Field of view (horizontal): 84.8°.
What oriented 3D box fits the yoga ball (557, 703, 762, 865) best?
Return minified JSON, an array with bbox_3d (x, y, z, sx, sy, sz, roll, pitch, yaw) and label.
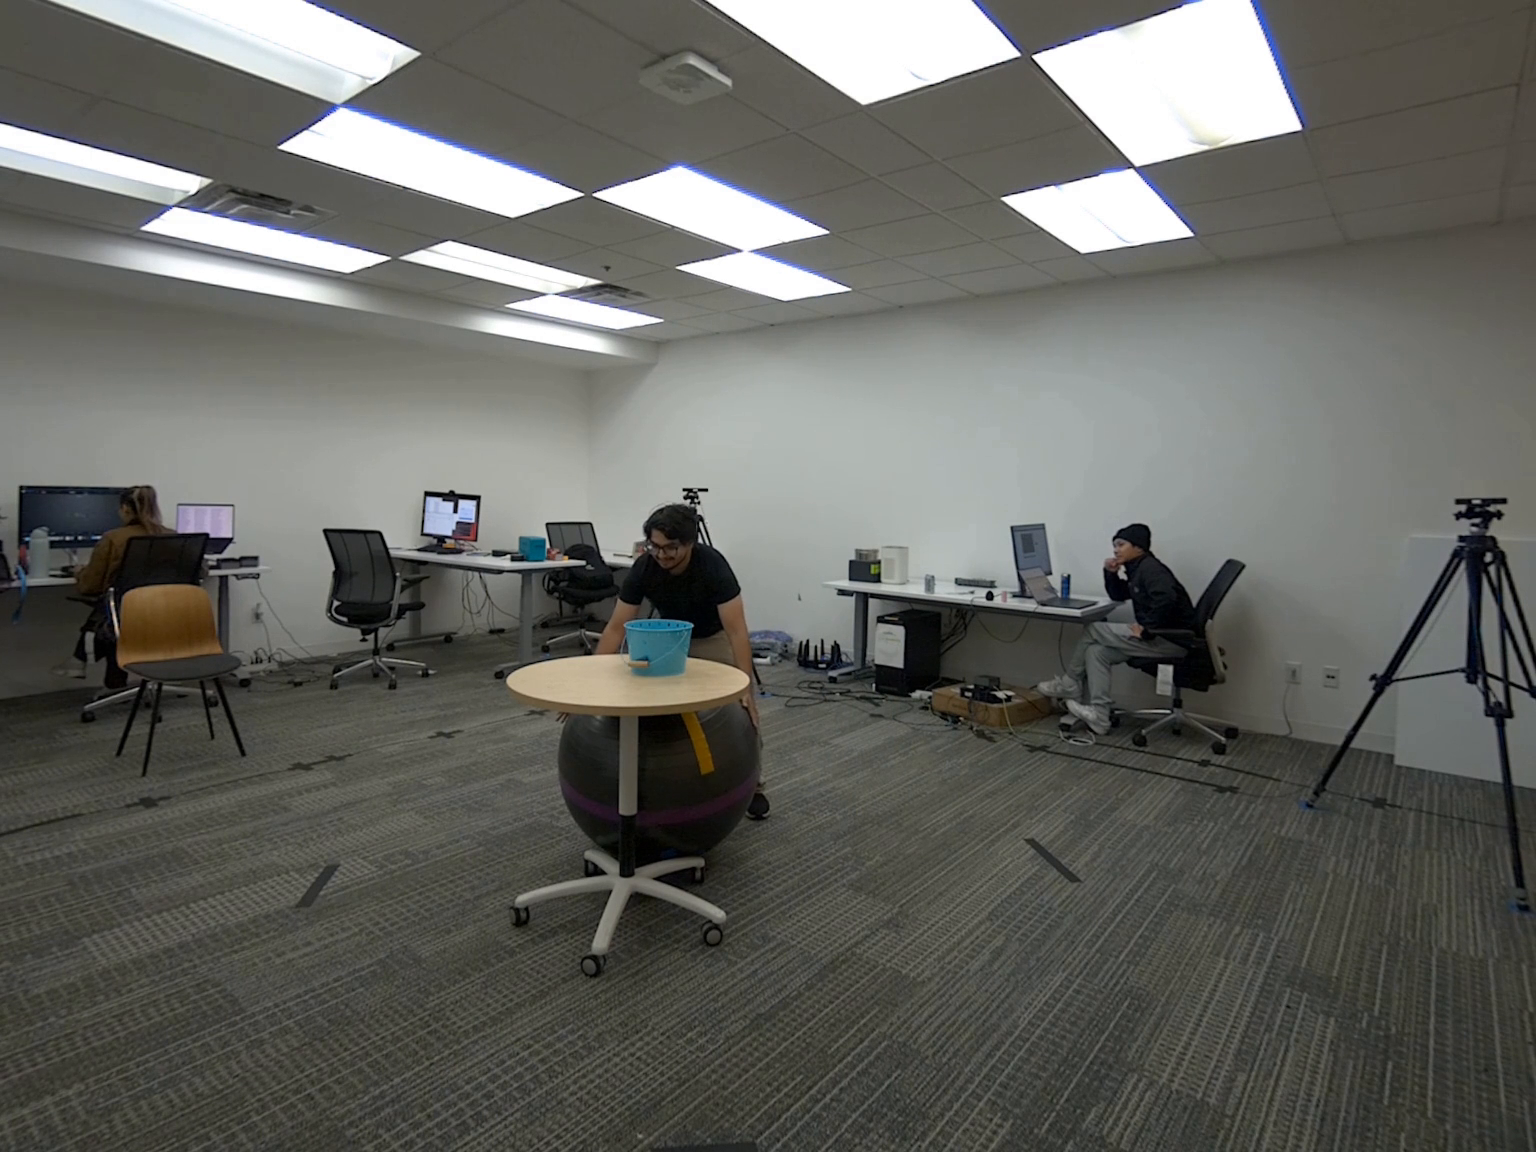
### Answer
[{"bbox_3d":[-0.415,0.693,3.209,0.757,0.755,0.762,1,4,-2],"label":"yoga ball"}]
